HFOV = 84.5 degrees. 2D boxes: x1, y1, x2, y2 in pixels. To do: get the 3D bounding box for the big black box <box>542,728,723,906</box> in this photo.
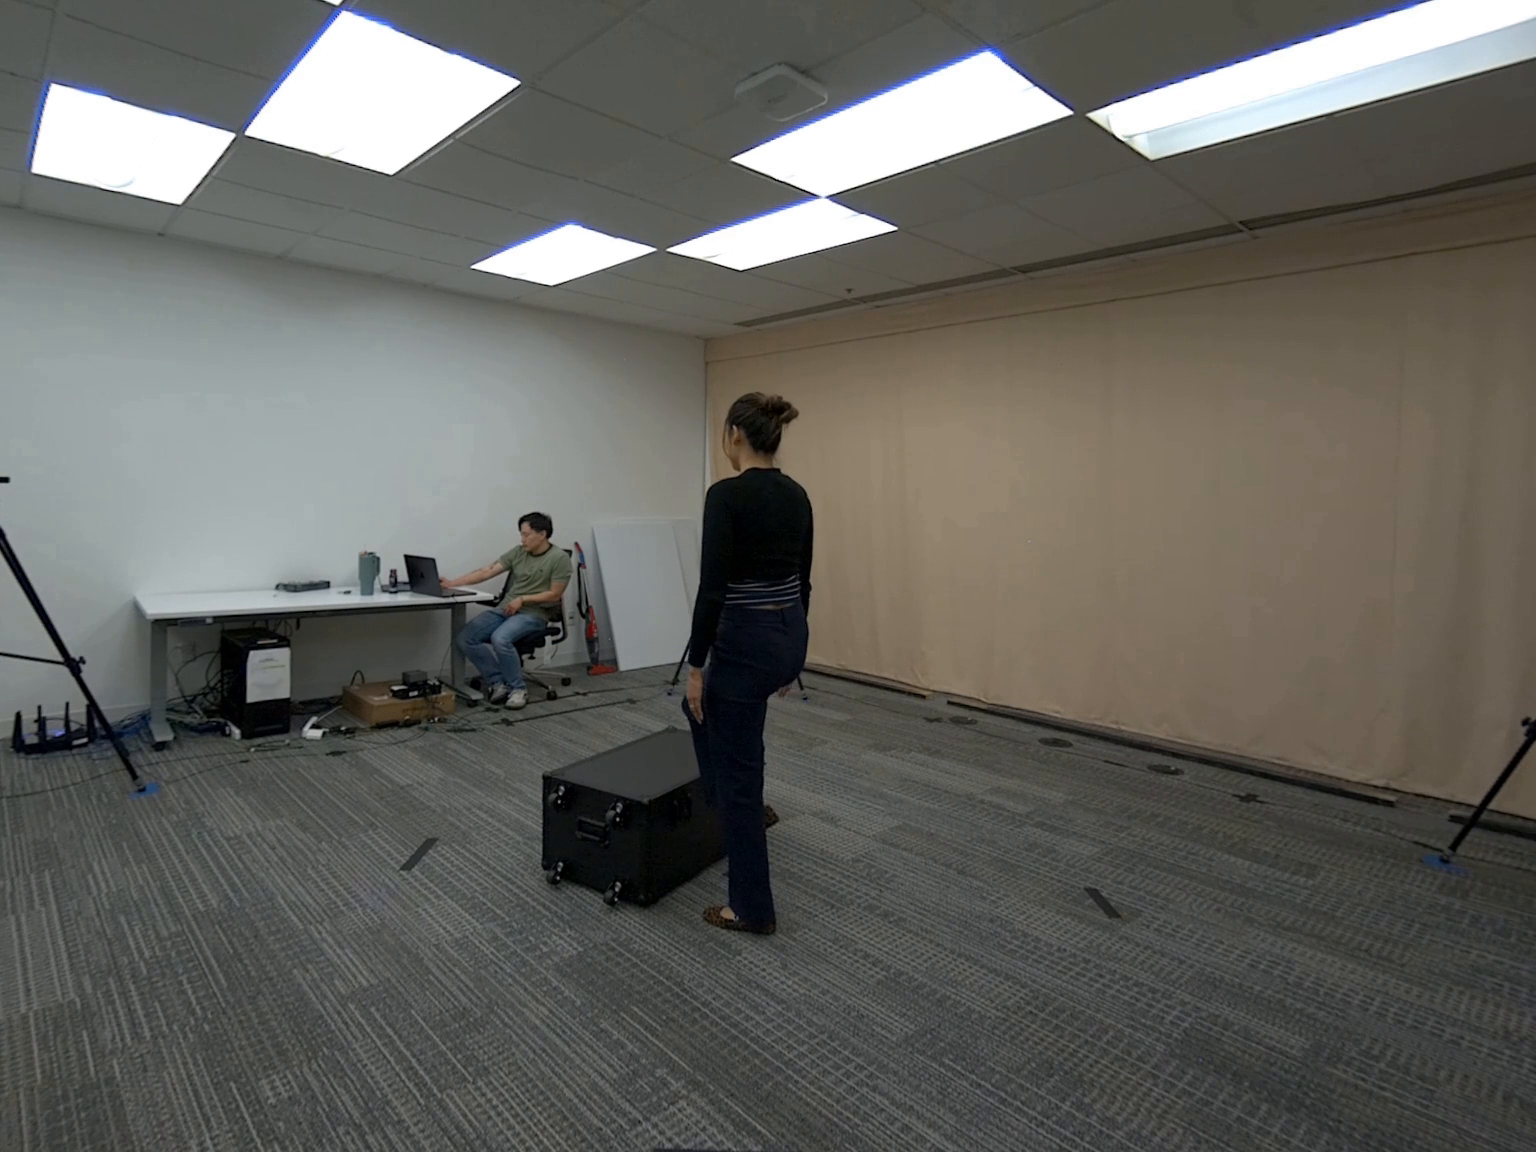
[{"bbox_3d":[-0.444,0.895,3.231,0.533,0.395,0.845,5,6,30],"label":"big black box"}]
